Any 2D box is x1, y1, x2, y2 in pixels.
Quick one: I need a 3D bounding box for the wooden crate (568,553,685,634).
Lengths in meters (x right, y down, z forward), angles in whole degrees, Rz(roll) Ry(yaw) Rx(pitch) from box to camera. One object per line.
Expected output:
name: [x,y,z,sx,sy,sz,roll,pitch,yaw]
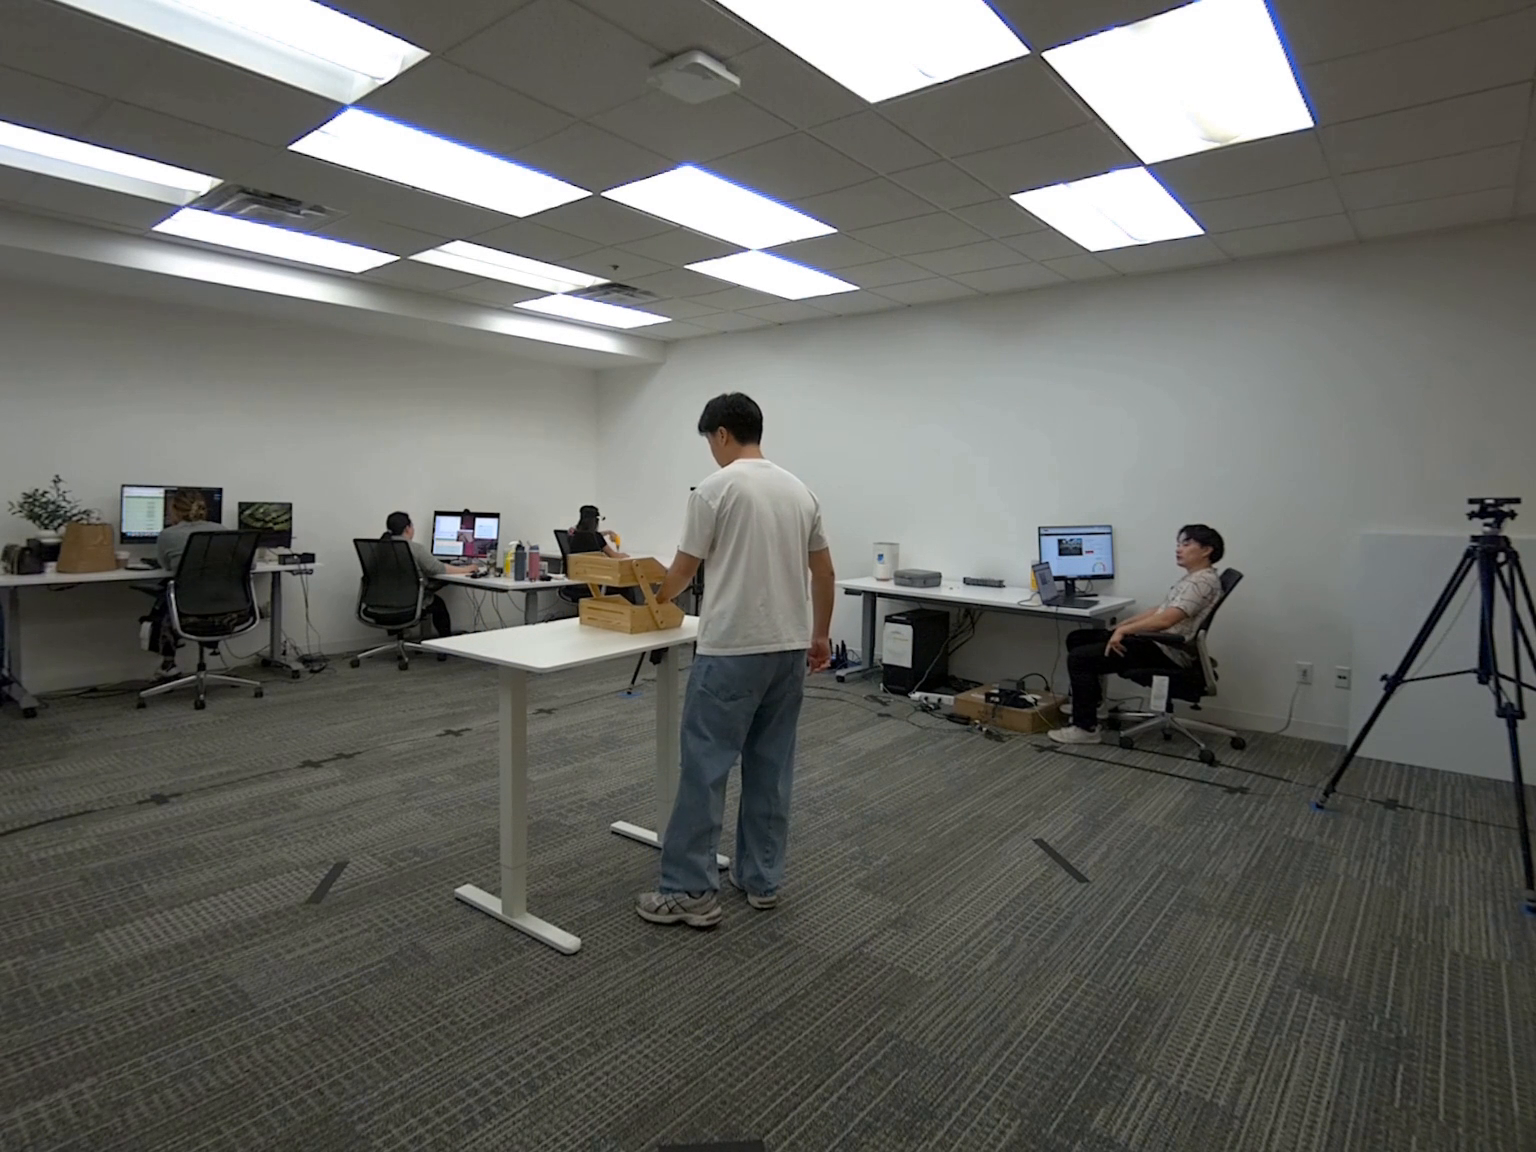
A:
wooden crate: [-0.523,0.047,3.074,0.335,0.272,0.293,5,7,42]
